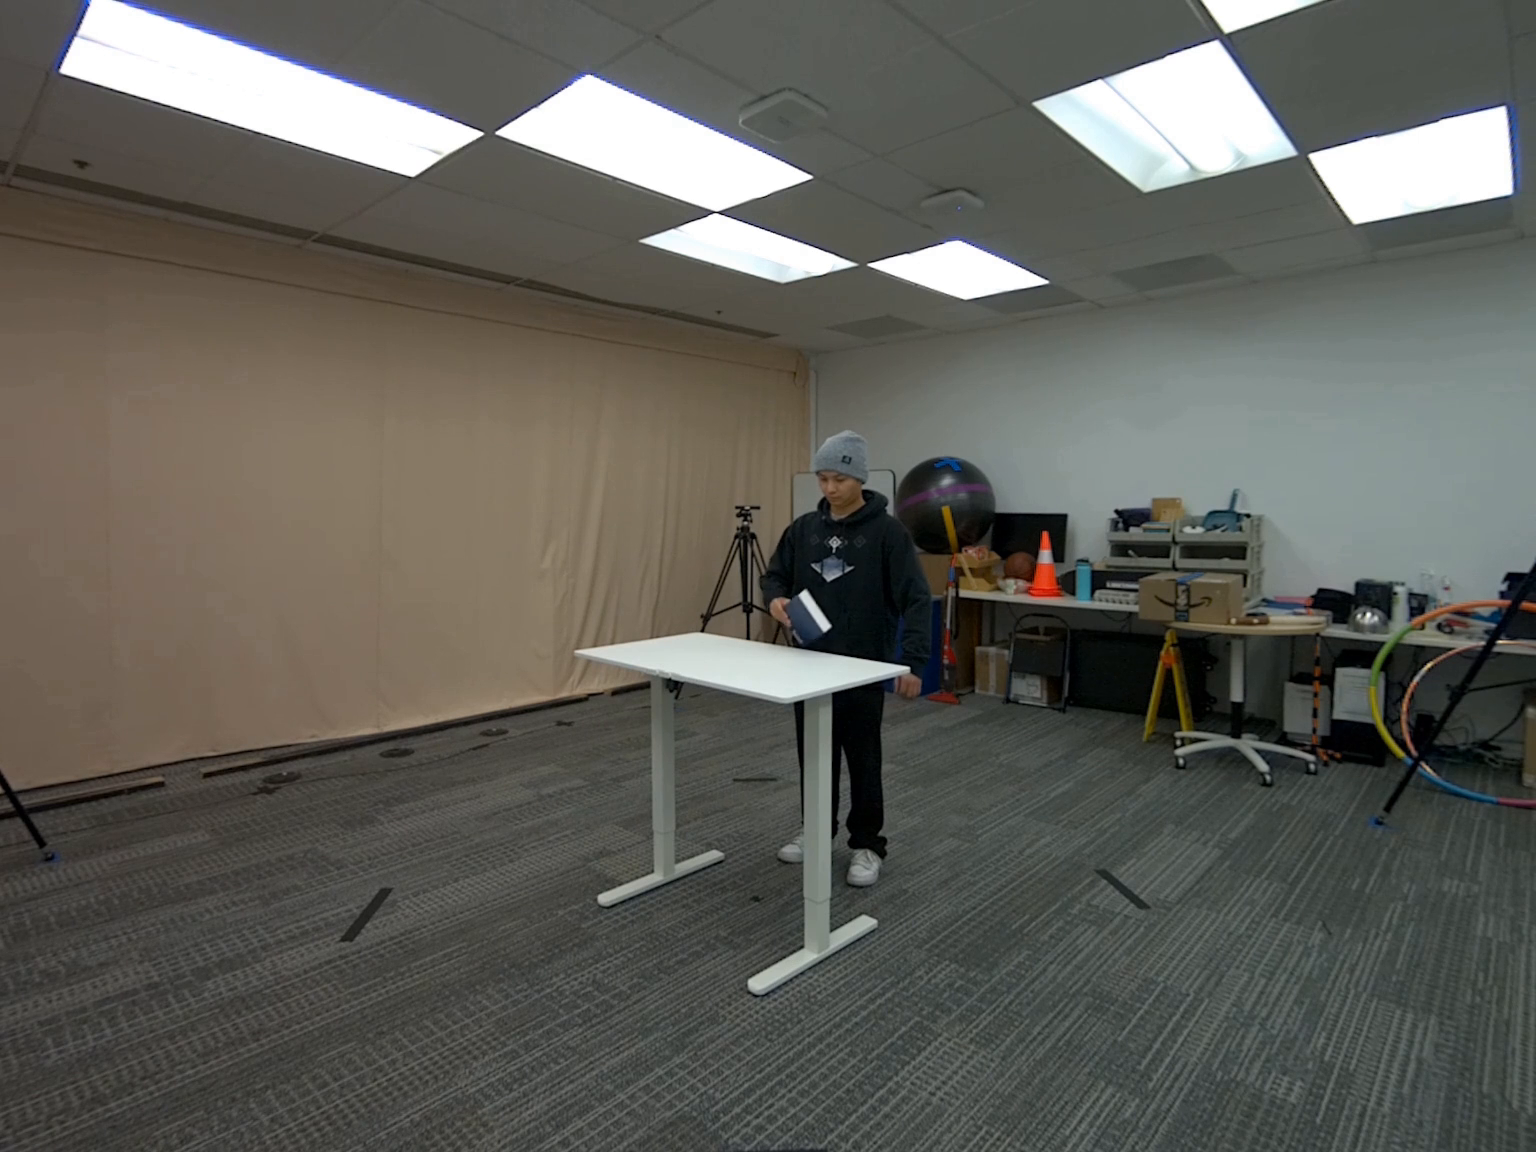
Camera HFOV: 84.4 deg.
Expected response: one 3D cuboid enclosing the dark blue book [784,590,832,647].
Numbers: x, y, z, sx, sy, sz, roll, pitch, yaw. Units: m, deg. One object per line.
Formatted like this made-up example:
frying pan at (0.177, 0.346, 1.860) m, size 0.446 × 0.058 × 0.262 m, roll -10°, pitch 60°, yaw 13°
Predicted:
dark blue book at (0.132, 0.160, 3.000) m, size 0.044 × 0.165 × 0.245 m, roll -30°, pitch -9°, yaw -20°
